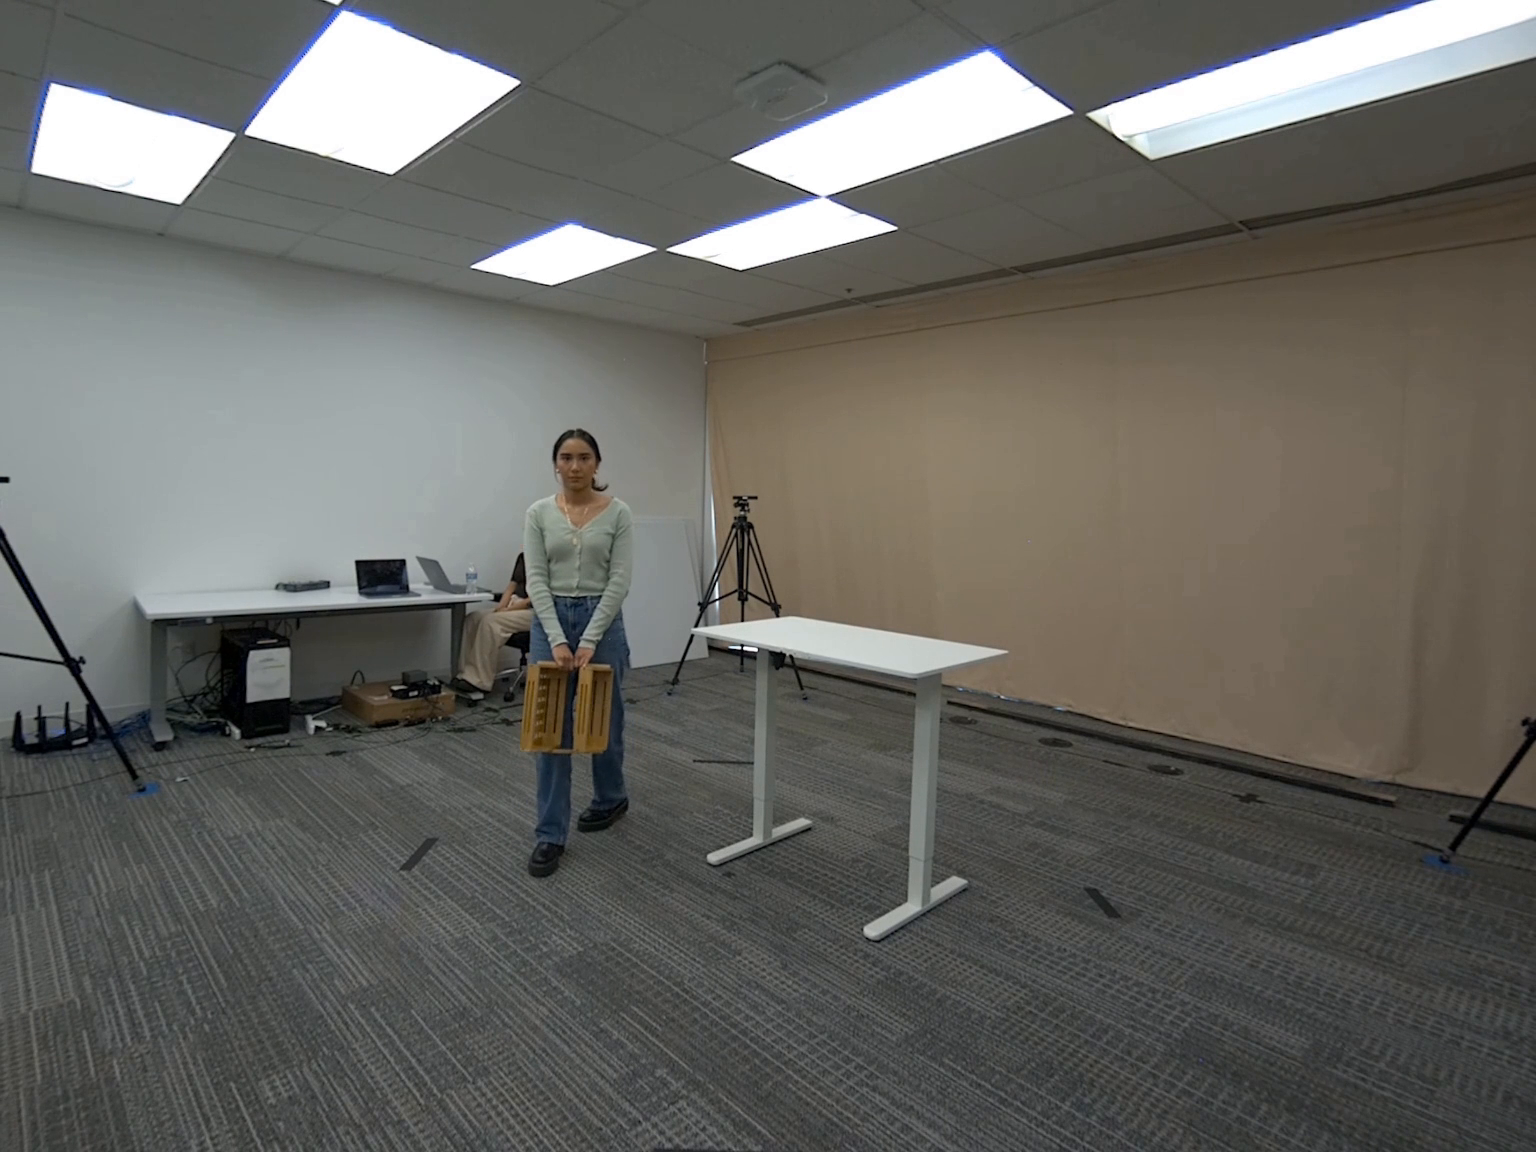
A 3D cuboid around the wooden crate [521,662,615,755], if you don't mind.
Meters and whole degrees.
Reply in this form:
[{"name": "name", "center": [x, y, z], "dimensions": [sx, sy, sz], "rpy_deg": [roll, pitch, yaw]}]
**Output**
[{"name": "wooden crate", "center": [-0.730, 0.480, 3.076], "dimensions": [0.274, 0.326, 0.300], "rpy_deg": [4, -7, 2]}]
